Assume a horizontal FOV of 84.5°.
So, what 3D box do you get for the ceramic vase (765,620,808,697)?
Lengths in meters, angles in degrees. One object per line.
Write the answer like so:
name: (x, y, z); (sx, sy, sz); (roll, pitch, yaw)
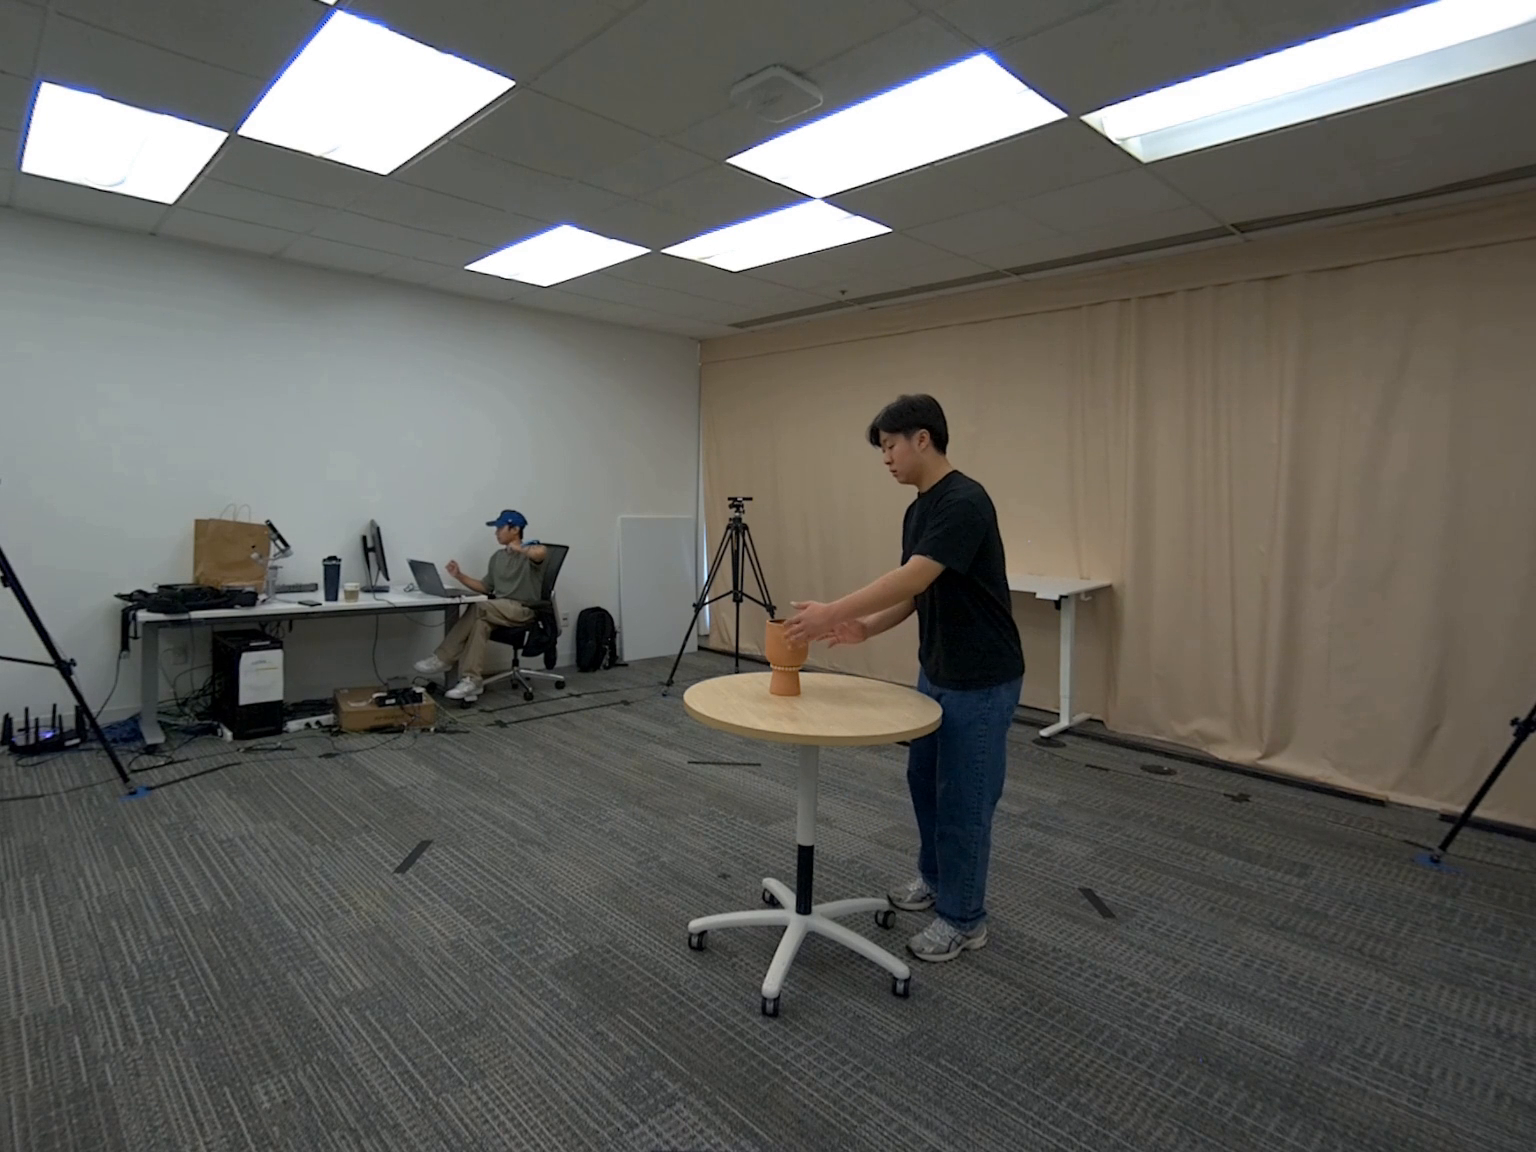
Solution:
ceramic vase: (0.061, 0.251, 2.594); (0.137, 0.219, 0.156); (4, 4, 28)
